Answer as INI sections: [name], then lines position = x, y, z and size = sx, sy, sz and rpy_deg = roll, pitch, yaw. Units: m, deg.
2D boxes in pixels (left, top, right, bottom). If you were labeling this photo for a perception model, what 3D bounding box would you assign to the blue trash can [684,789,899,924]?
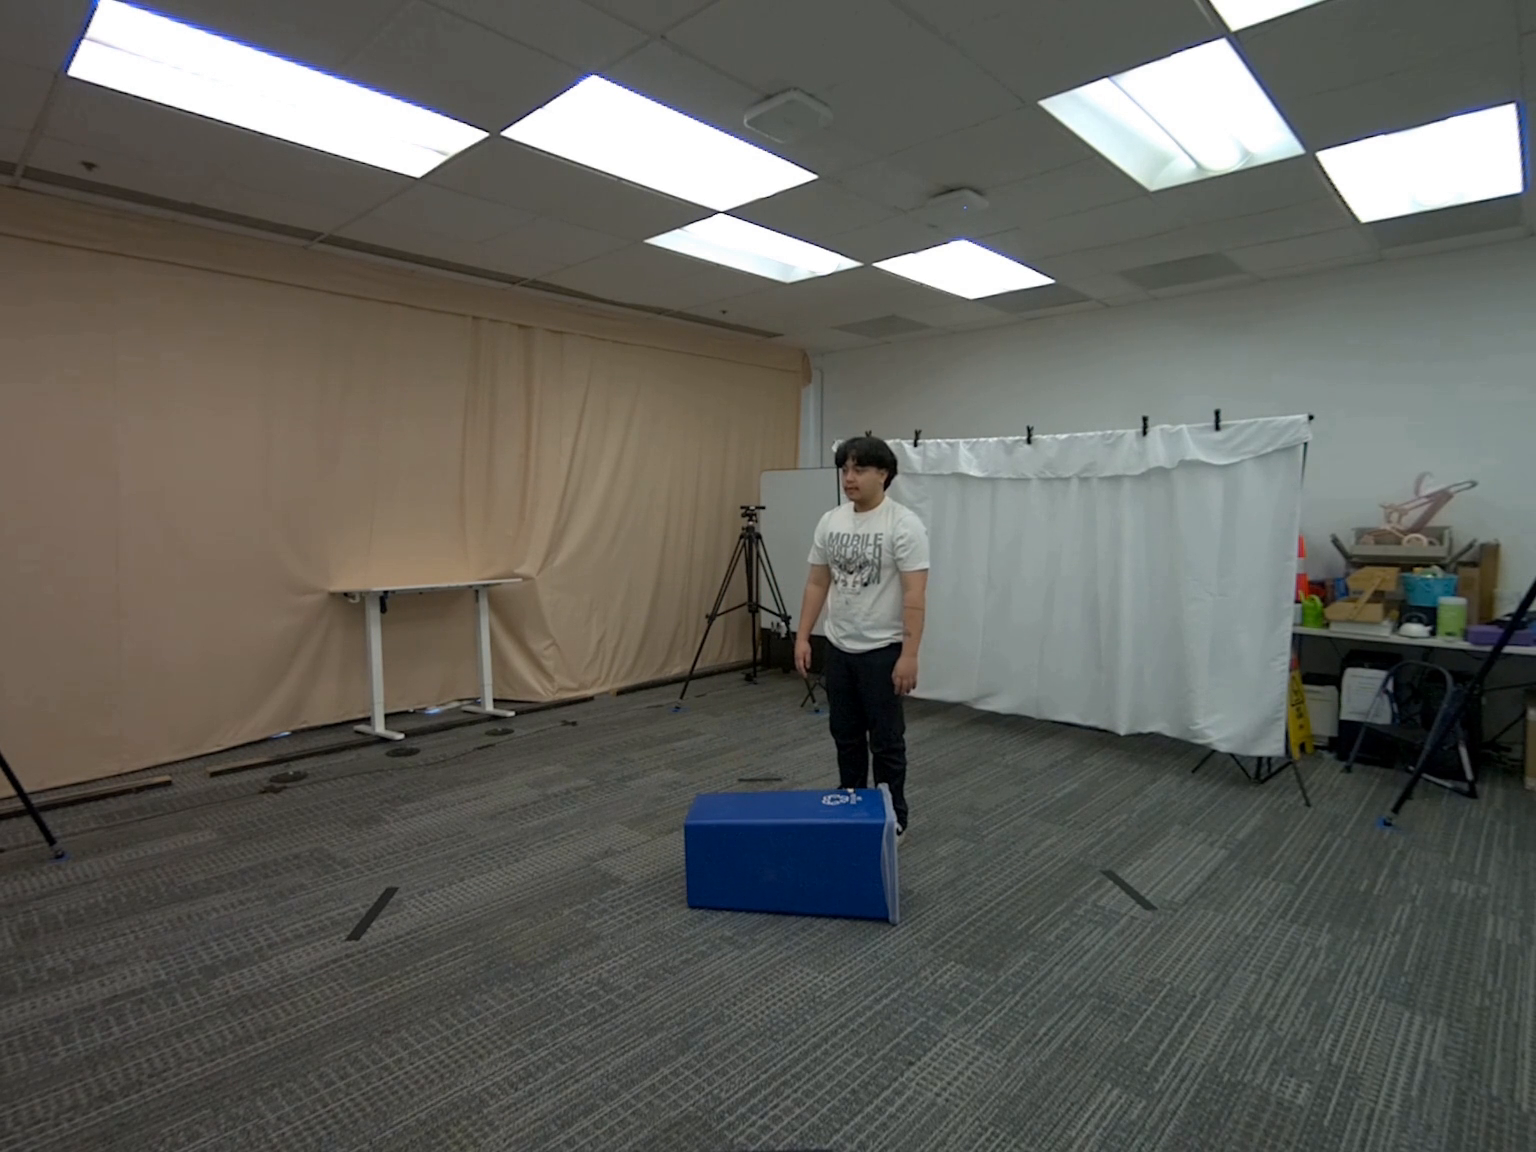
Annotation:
[blue trash can]
position = 0.084, 0.977, 2.991
size = 0.719, 0.377, 0.372
rpy_deg = -3, 4, 6
